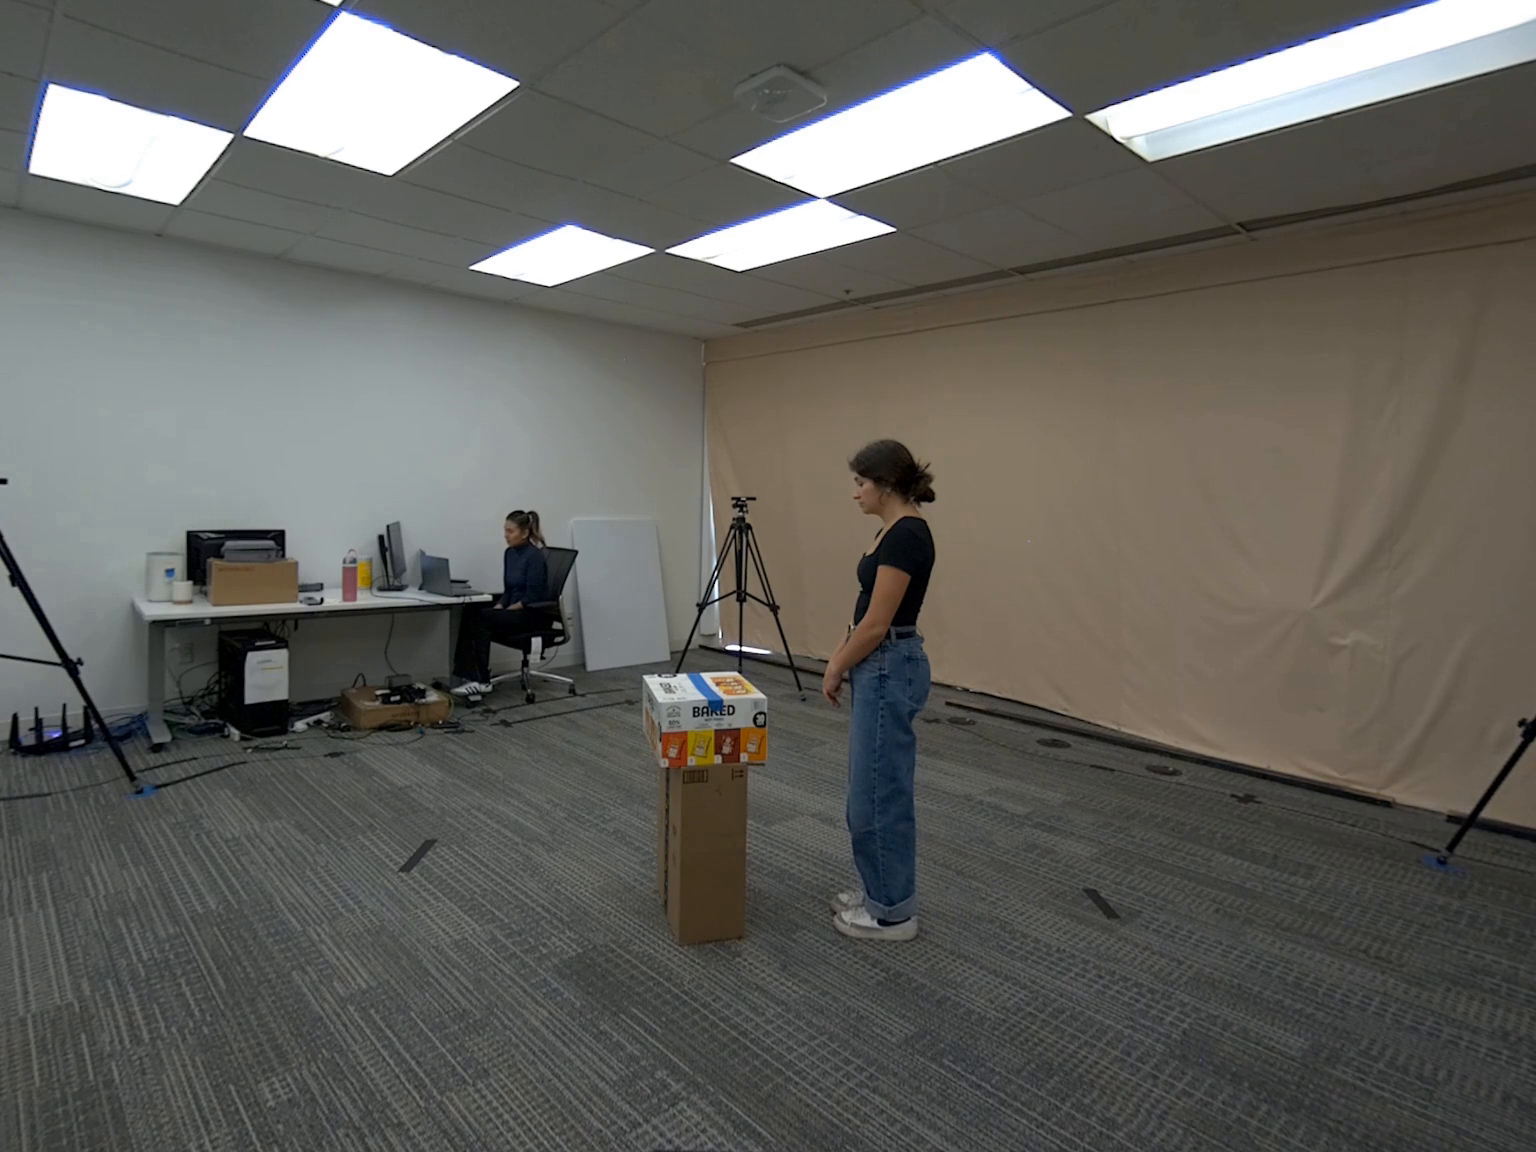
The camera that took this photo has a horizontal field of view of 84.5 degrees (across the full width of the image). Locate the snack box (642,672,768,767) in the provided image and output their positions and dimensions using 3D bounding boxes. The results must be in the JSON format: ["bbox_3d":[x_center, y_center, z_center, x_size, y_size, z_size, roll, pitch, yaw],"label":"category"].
[{"bbox_3d":[-0.223,0.463,2.794,0.336,0.205,0.411,0,5,-15],"label":"snack box"}]
